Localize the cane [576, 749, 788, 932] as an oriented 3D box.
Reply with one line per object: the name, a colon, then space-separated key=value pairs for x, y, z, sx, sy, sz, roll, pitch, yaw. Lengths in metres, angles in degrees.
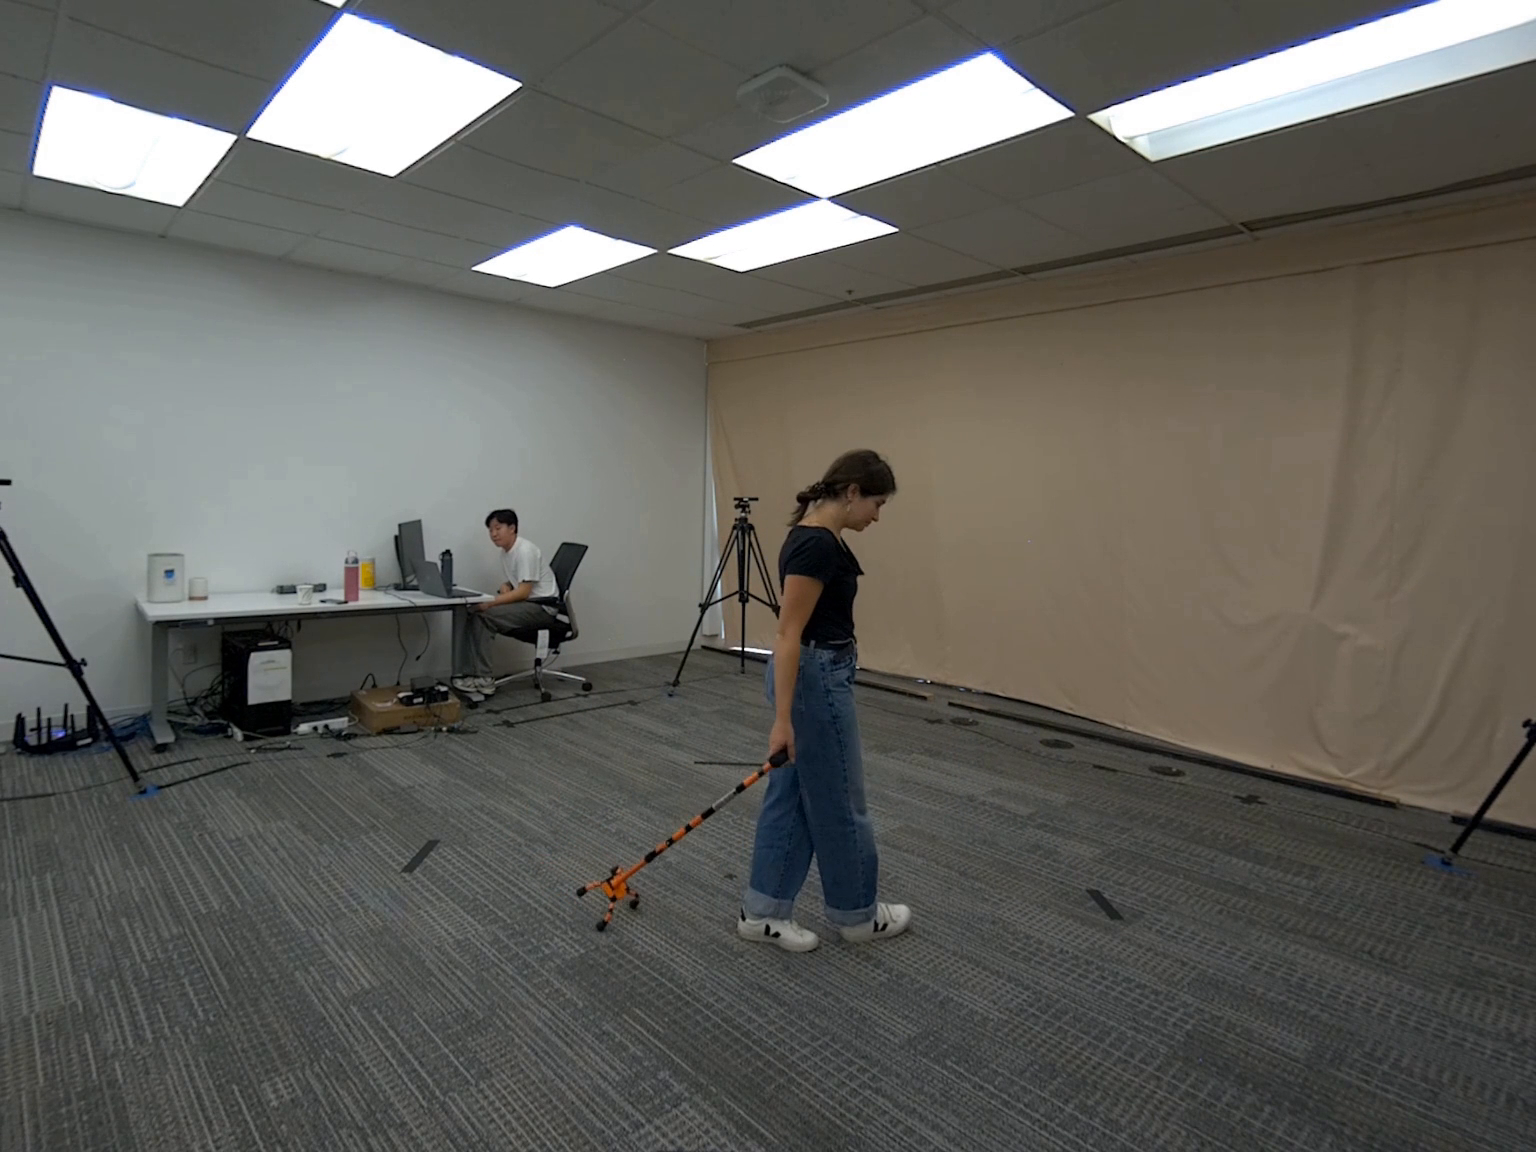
cane: x=-0.237 y=0.792 z=2.597 sx=0.909 sy=0.154 sz=0.203 roll=-43 pitch=-13 yaw=25
